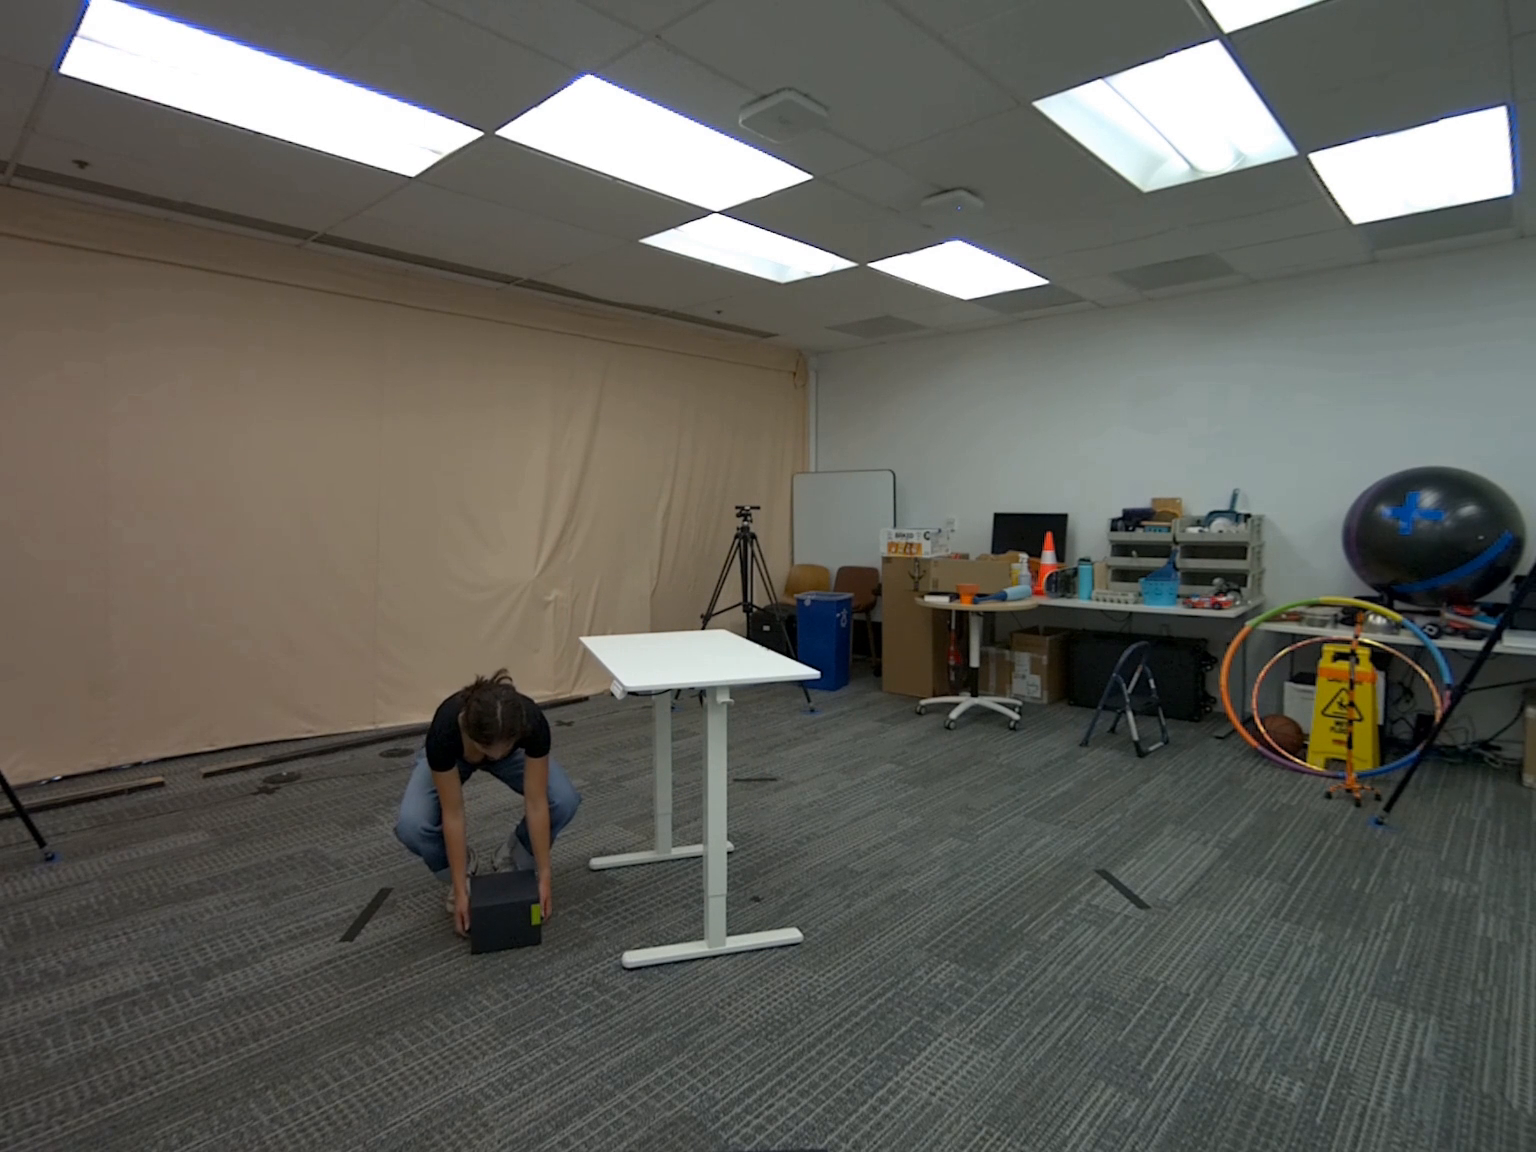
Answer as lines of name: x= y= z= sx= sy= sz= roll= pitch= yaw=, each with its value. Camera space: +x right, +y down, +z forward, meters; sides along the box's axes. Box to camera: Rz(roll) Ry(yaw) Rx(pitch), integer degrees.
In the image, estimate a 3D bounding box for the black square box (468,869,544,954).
black square box: x=-0.873 y=1.089 z=2.744 sx=0.213 sy=0.155 sz=0.233 roll=-2 pitch=4 yaw=-19
